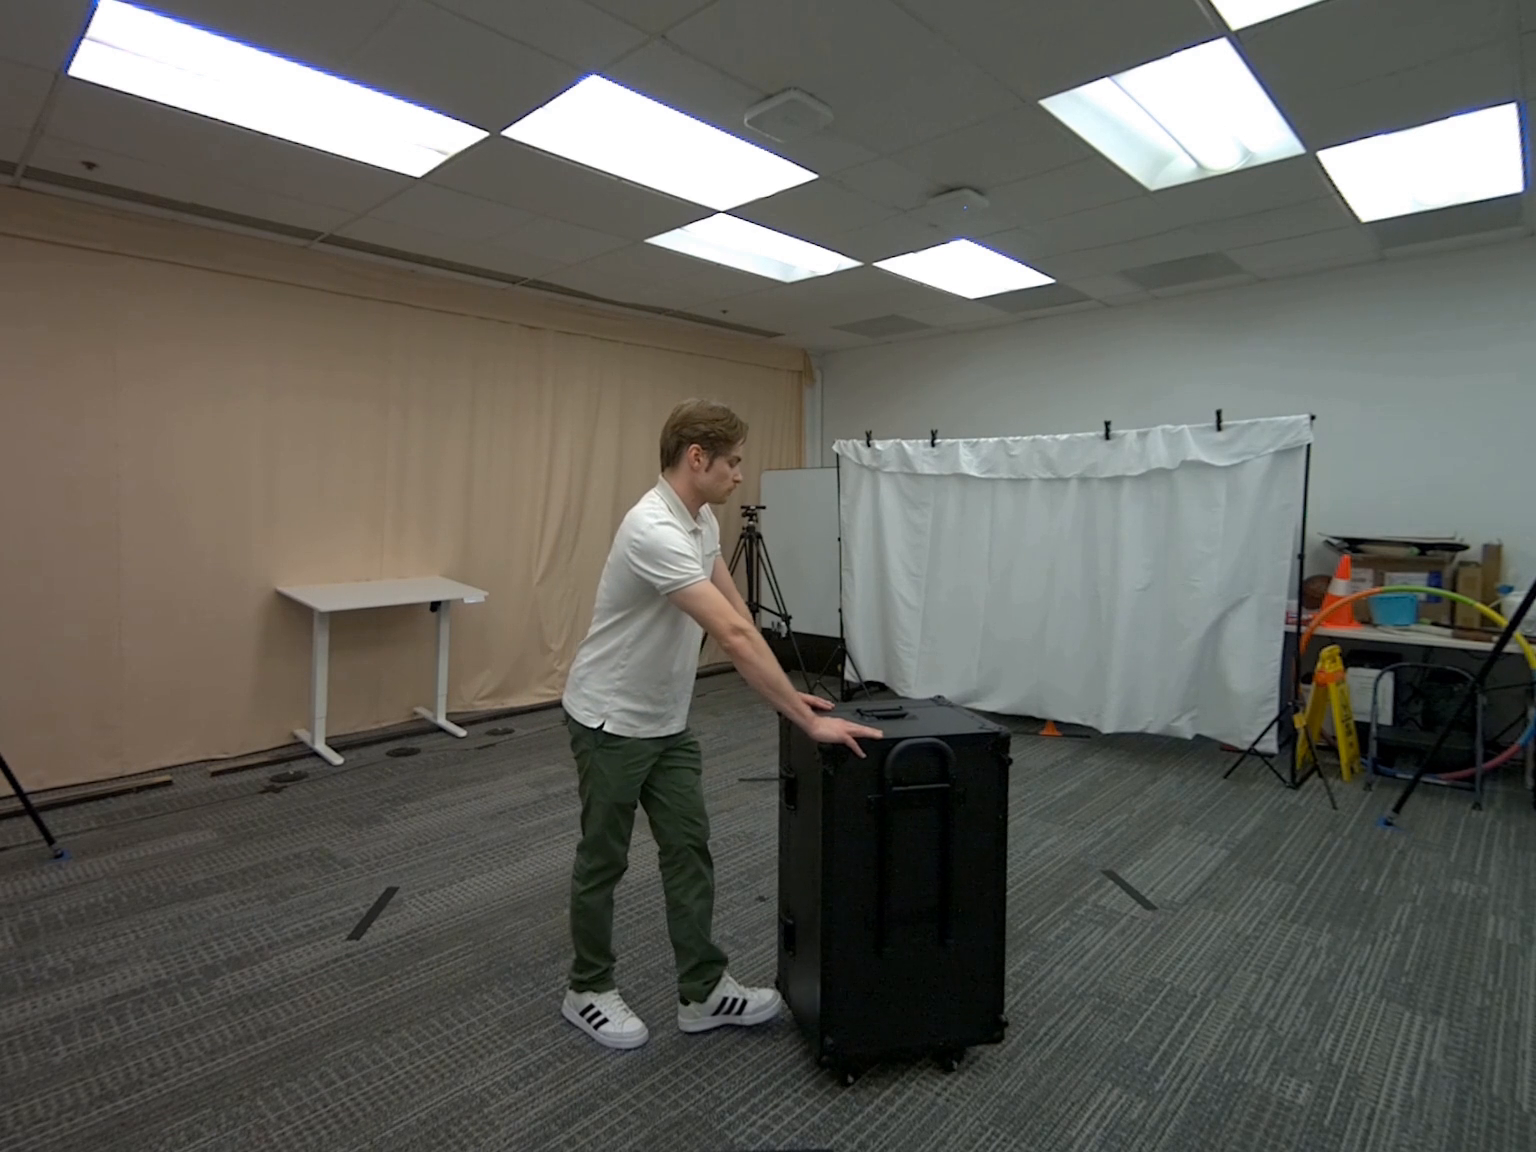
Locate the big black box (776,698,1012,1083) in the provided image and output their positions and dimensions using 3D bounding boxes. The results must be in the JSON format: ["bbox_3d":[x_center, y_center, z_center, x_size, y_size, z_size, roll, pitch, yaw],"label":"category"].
[{"bbox_3d":[0.318,0.788,2.170,0.516,0.867,0.391,-1,3,-14],"label":"big black box"}]
